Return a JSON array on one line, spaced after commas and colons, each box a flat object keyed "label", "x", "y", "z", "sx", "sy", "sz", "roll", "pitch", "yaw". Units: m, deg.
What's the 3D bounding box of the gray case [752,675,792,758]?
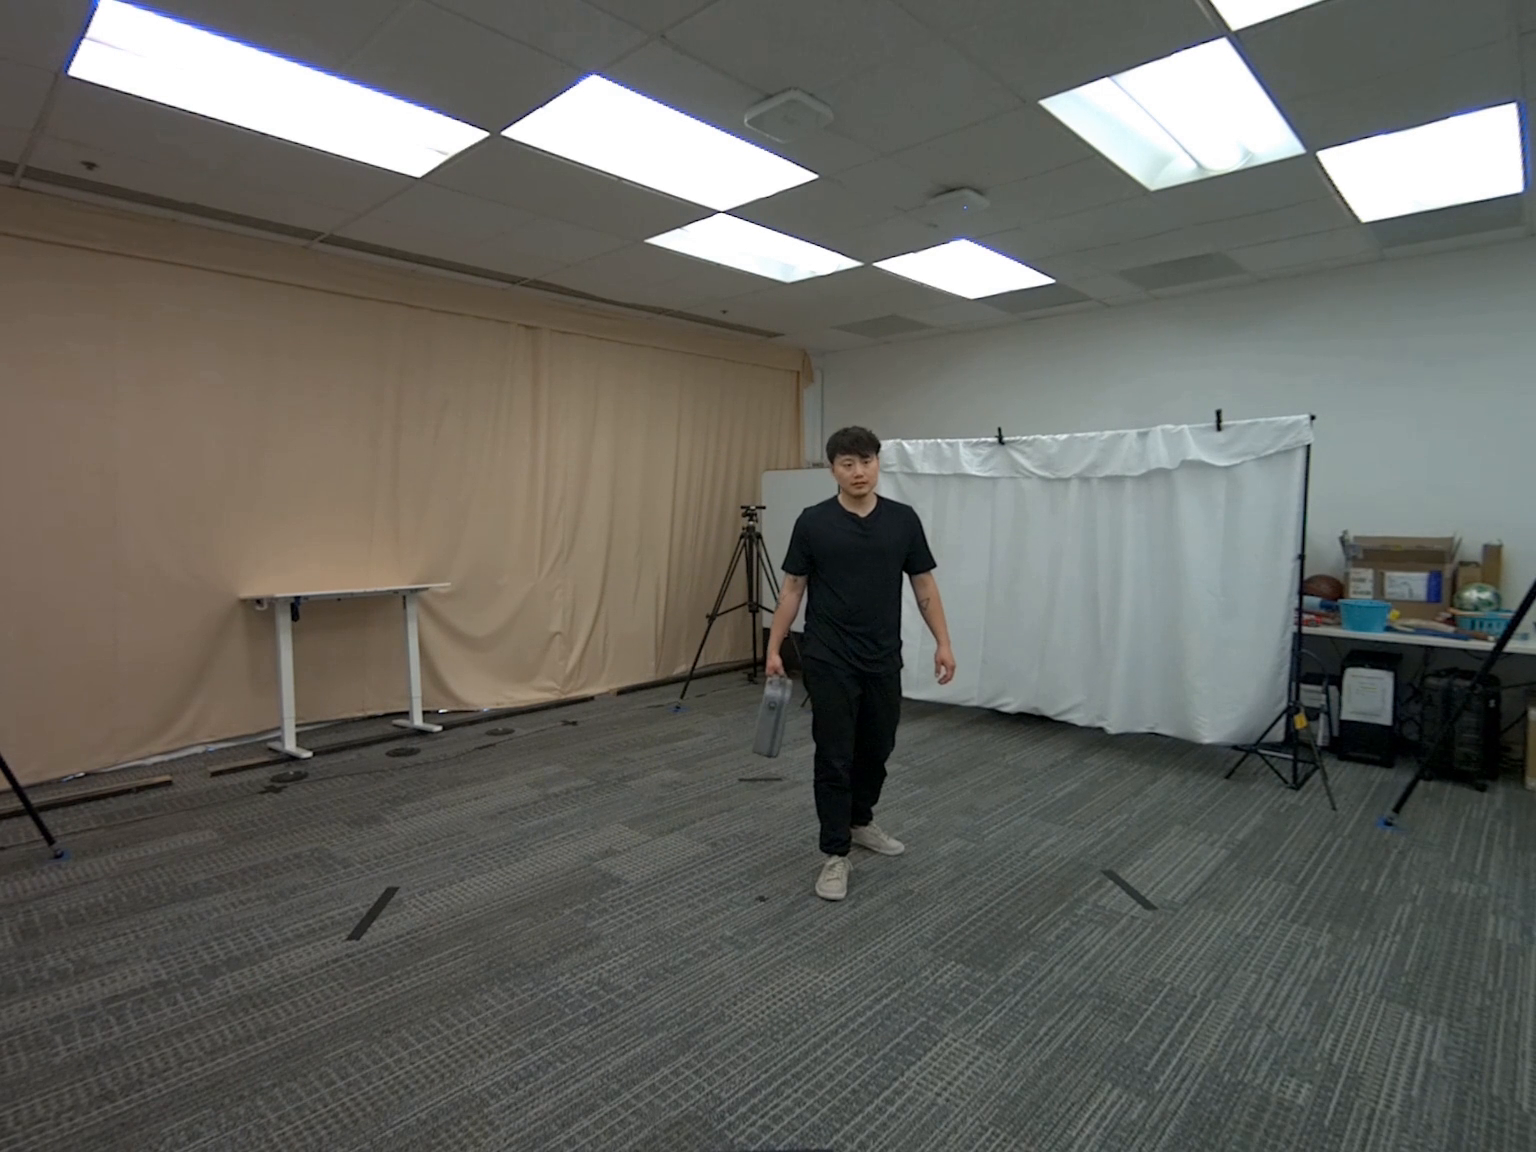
[{"label": "gray case", "x": 0.029, "y": 0.520, "z": 3.171, "sx": 0.105, "sy": 0.260, "sz": 0.256, "roll": 7, "pitch": 7, "yaw": 3}]
